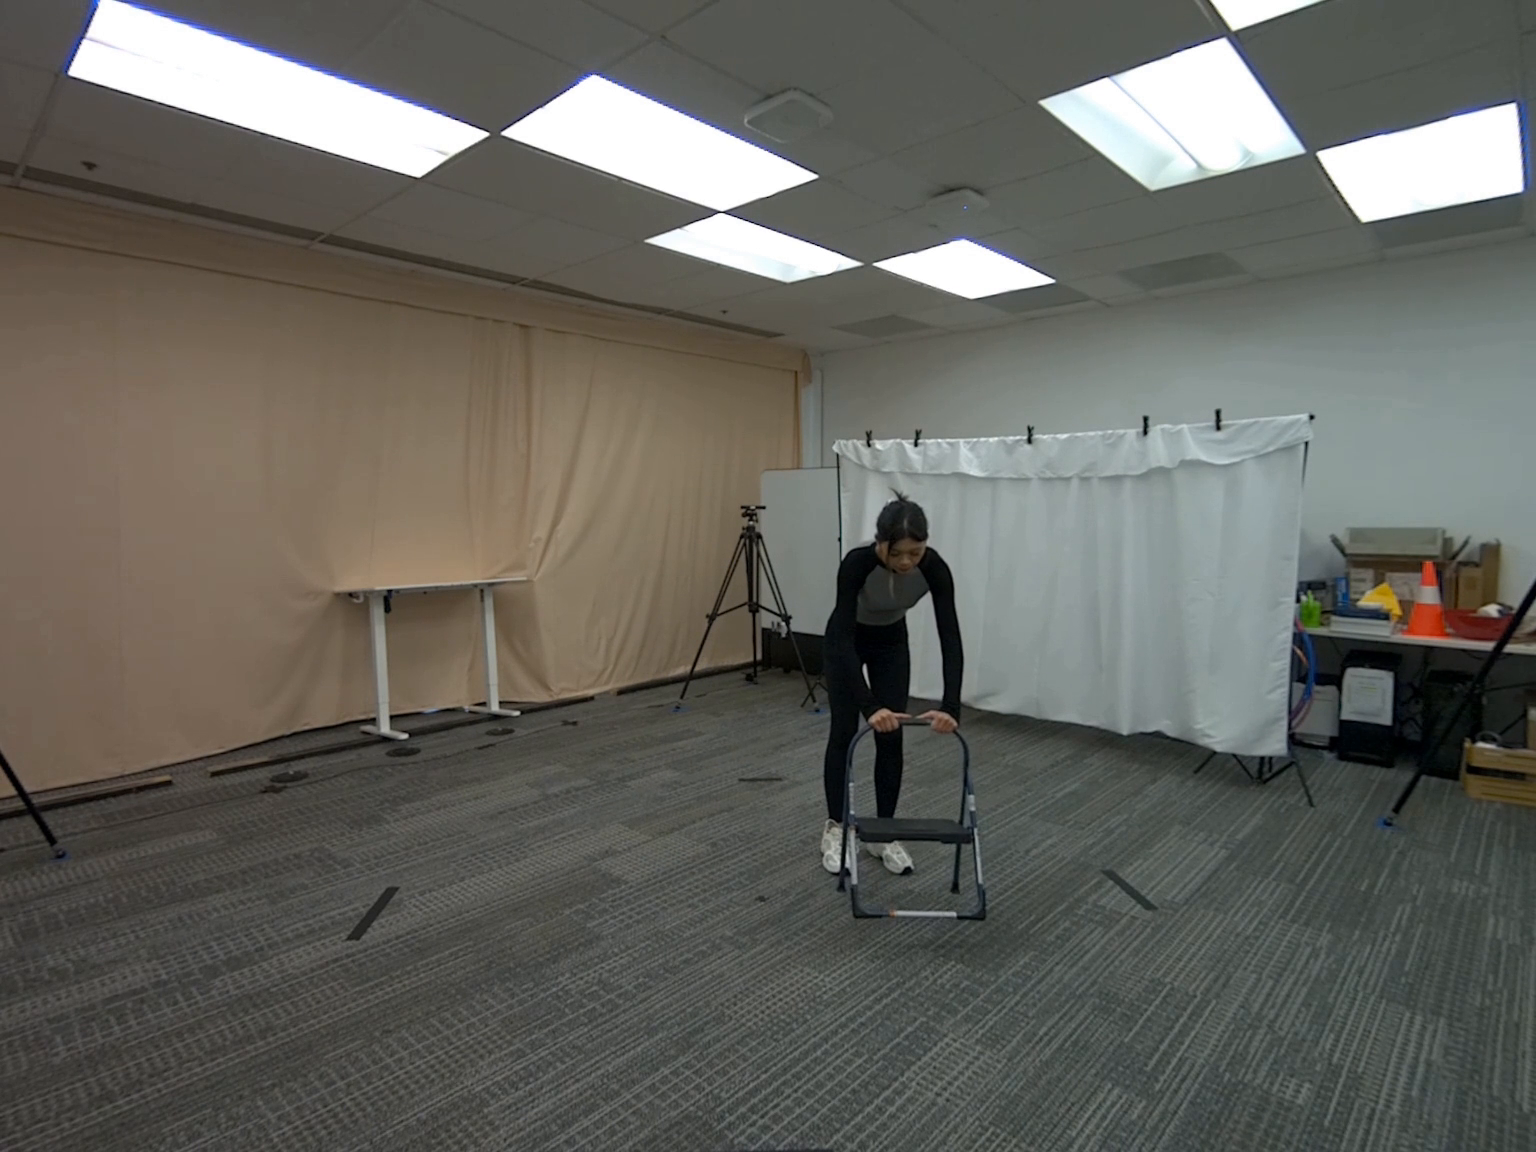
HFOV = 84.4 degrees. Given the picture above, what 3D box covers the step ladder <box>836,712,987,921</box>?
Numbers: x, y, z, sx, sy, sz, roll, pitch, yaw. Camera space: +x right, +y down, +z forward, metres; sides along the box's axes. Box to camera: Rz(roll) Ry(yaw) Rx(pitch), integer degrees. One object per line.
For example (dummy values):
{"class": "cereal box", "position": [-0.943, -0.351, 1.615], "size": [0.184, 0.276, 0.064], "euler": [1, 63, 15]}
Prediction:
{"class": "step ladder", "position": [0.468, 0.784, 2.808], "size": [0.430, 0.608, 0.348], "euler": [1, -7, -2]}
